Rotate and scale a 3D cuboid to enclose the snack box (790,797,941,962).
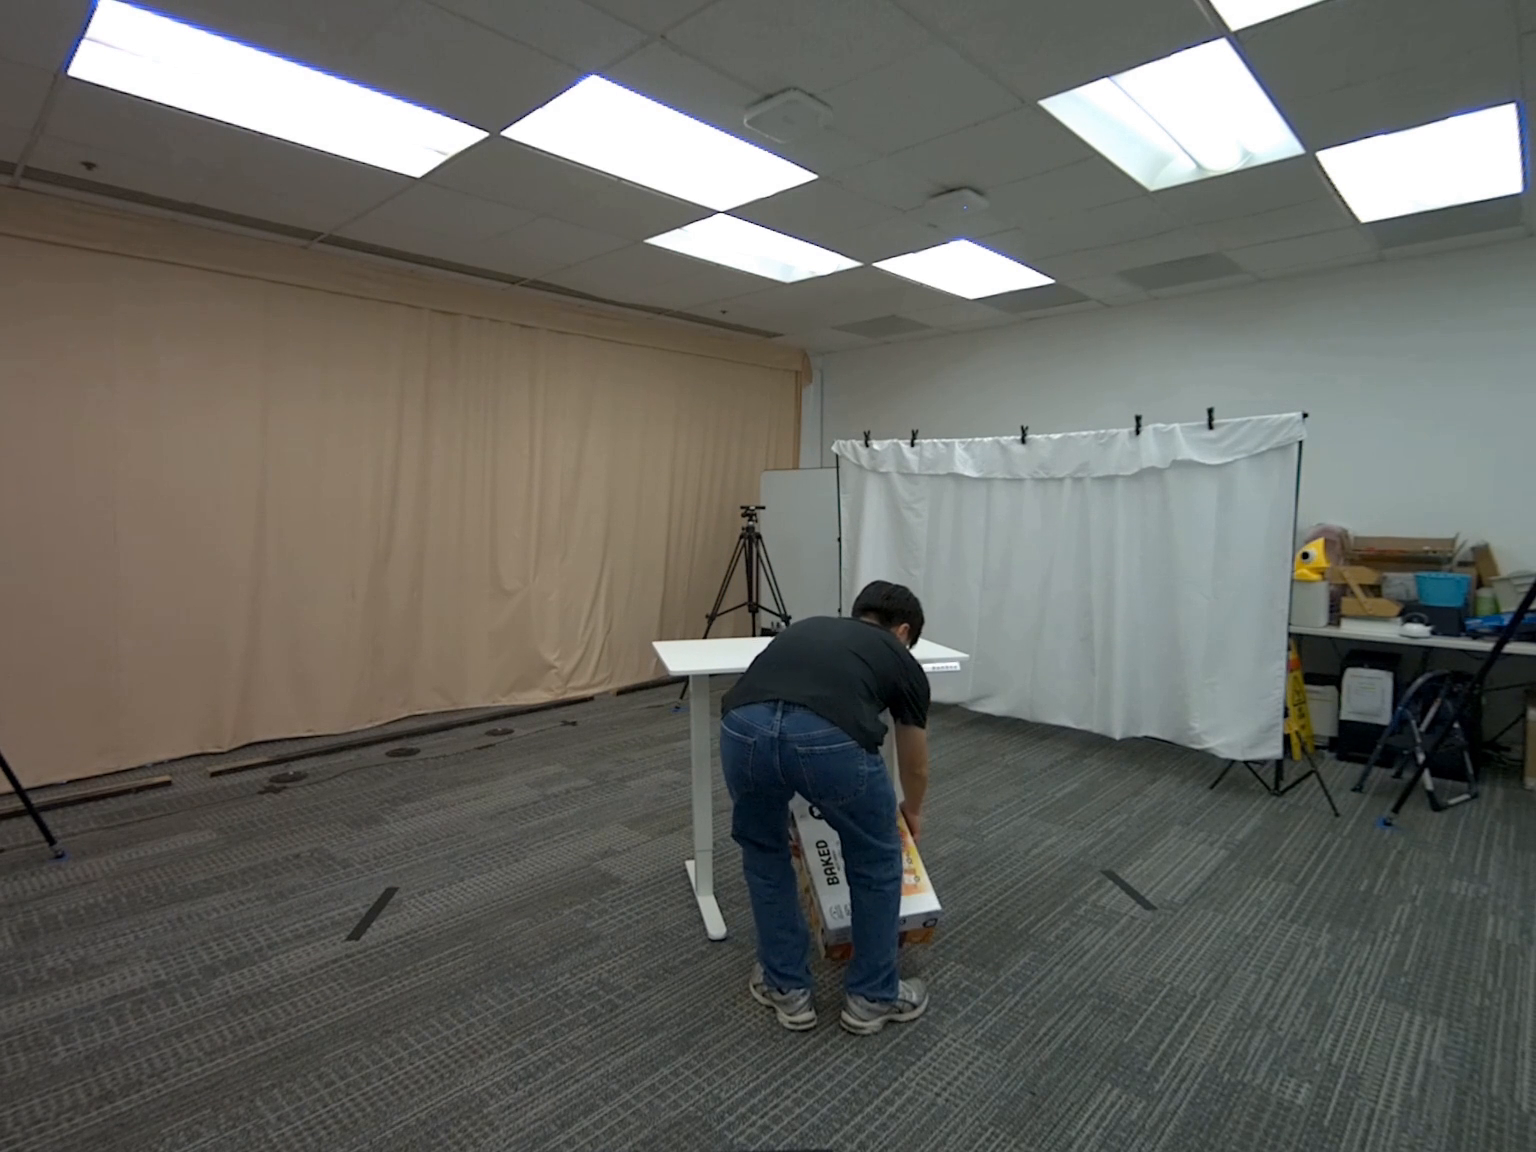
[{"bbox_3d":[0.287,0.930,2.616,0.337,0.202,0.416,-6,42,-10],"label":"snack box"}]
